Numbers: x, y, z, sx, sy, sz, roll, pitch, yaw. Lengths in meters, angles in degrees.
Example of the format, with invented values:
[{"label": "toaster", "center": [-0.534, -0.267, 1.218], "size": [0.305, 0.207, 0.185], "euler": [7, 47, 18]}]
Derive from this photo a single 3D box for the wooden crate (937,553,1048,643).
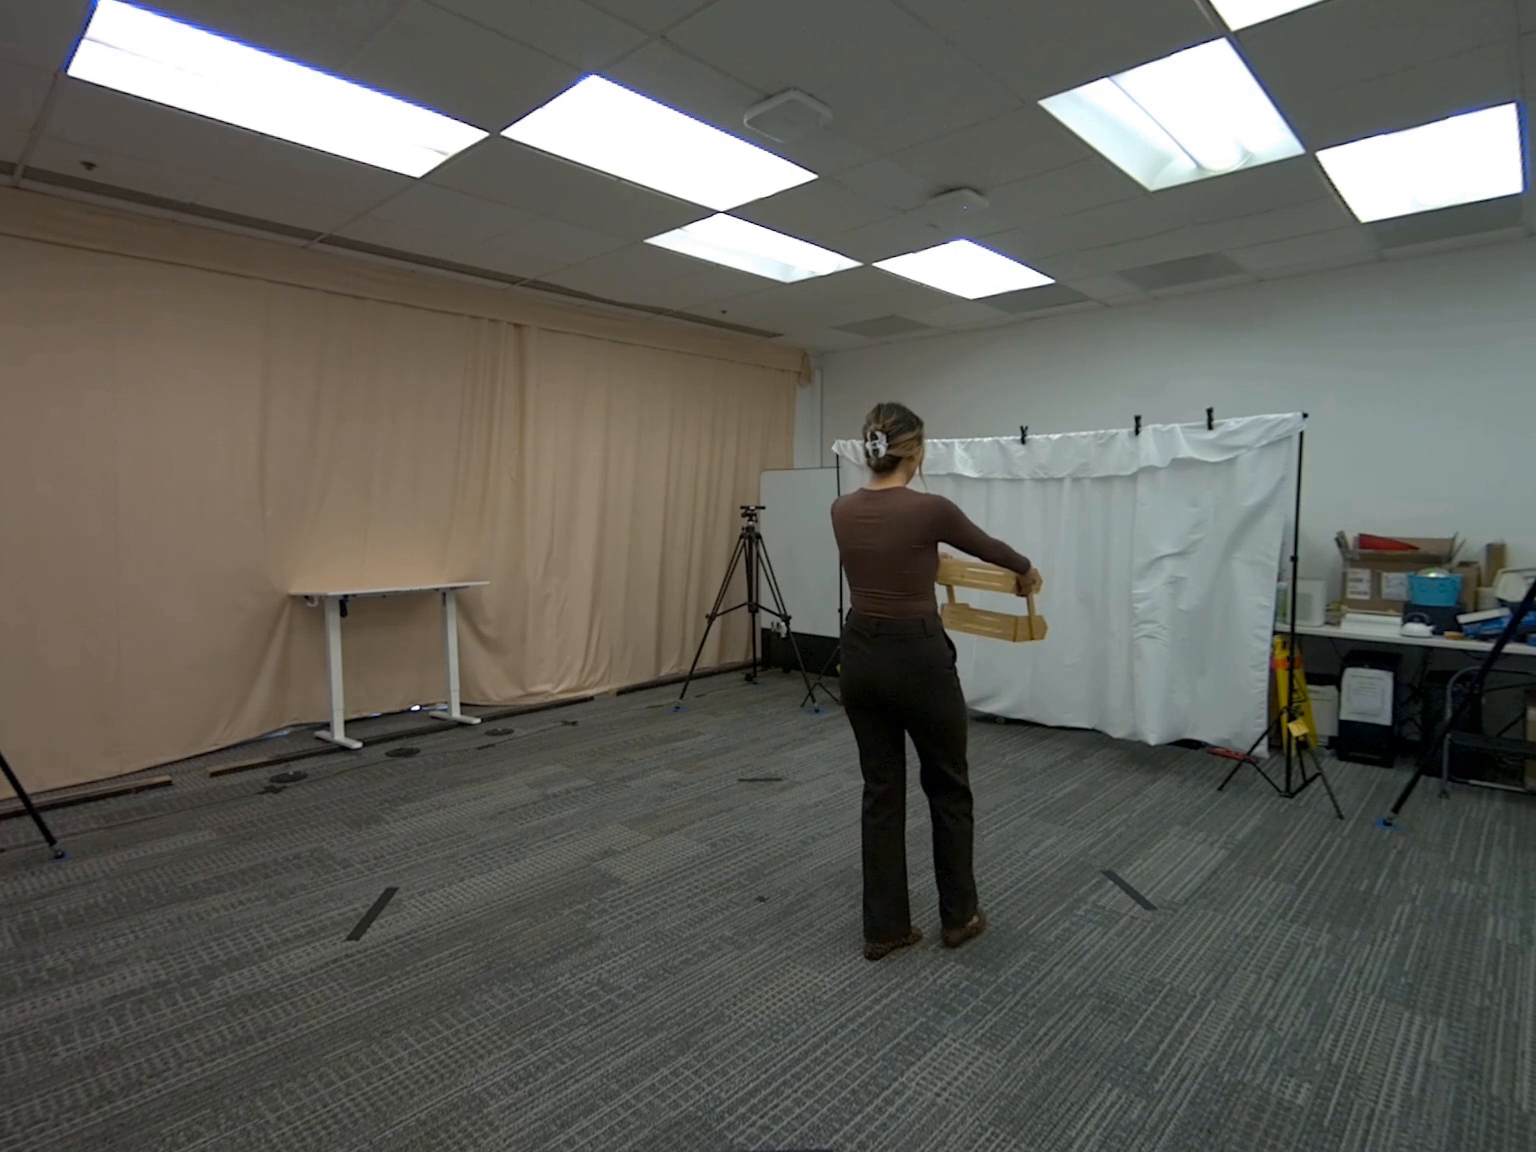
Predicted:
[{"label": "wooden crate", "center": [0.839, 0.084, 3.076], "size": [0.336, 0.273, 0.292], "euler": [9, 5, 44]}]
